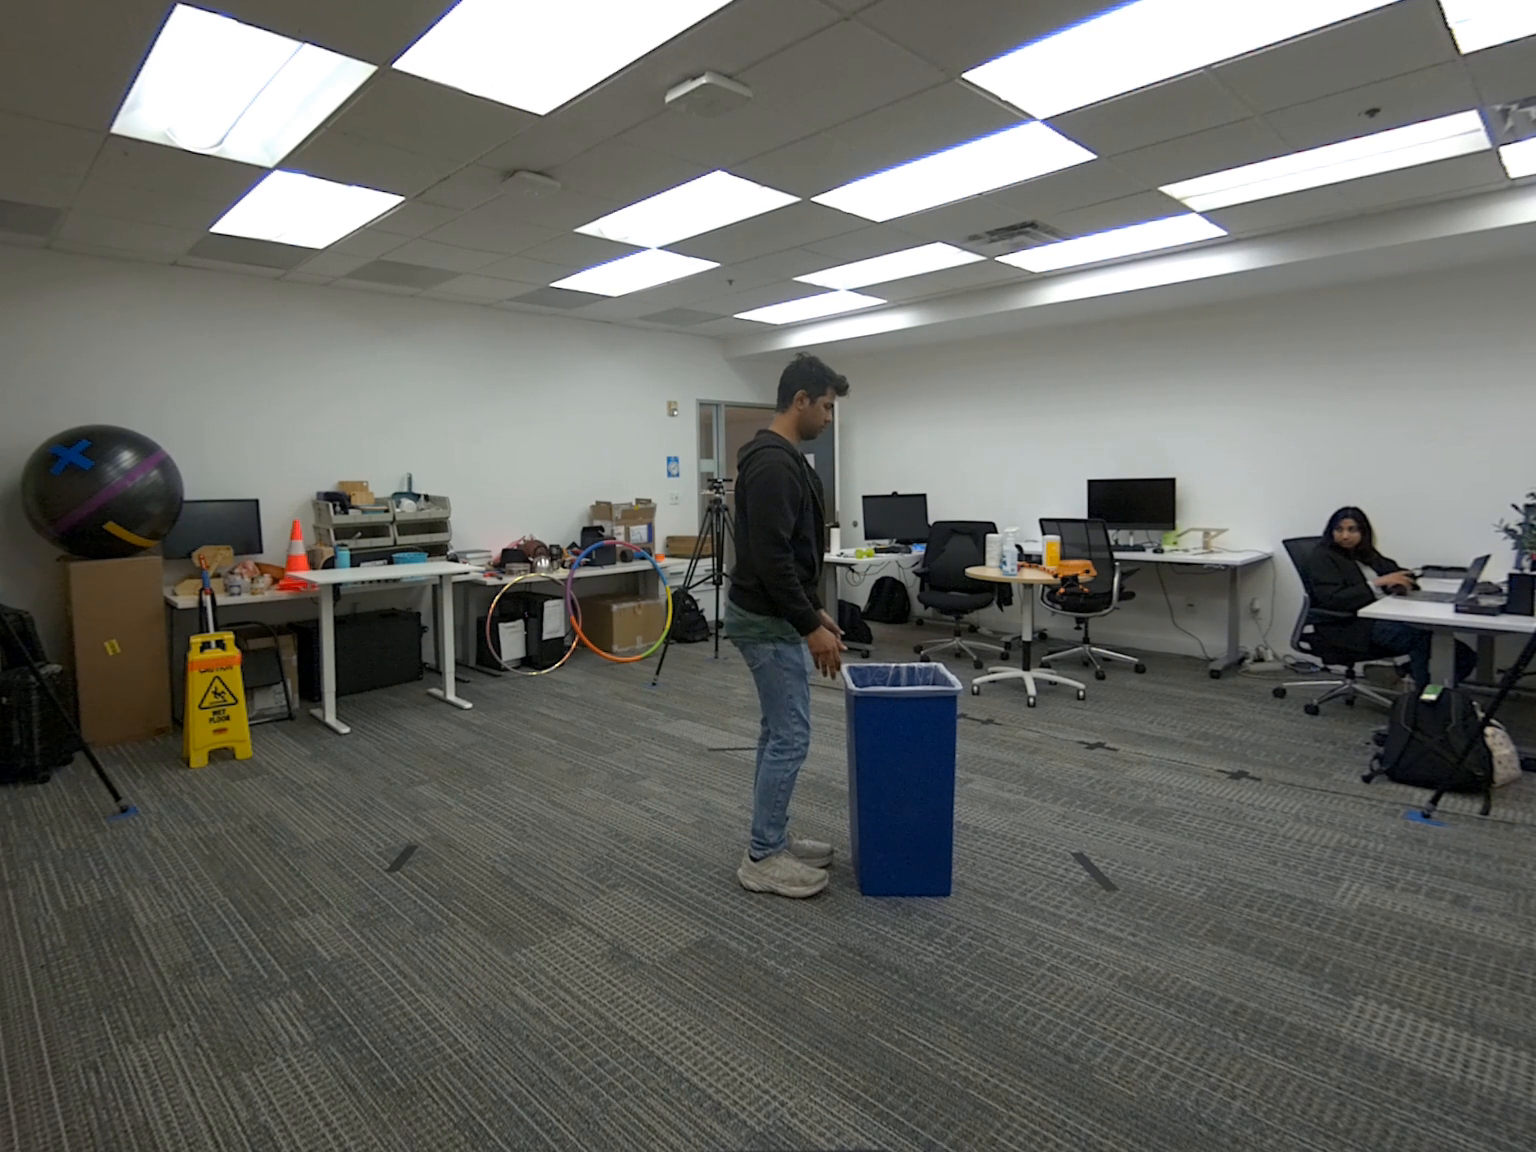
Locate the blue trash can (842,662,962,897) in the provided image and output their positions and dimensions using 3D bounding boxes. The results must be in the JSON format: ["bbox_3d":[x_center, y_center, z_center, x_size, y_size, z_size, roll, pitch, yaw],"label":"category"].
[{"bbox_3d":[0.452,0.694,2.958,0.379,0.711,0.374,-1,4,2],"label":"blue trash can"}]
